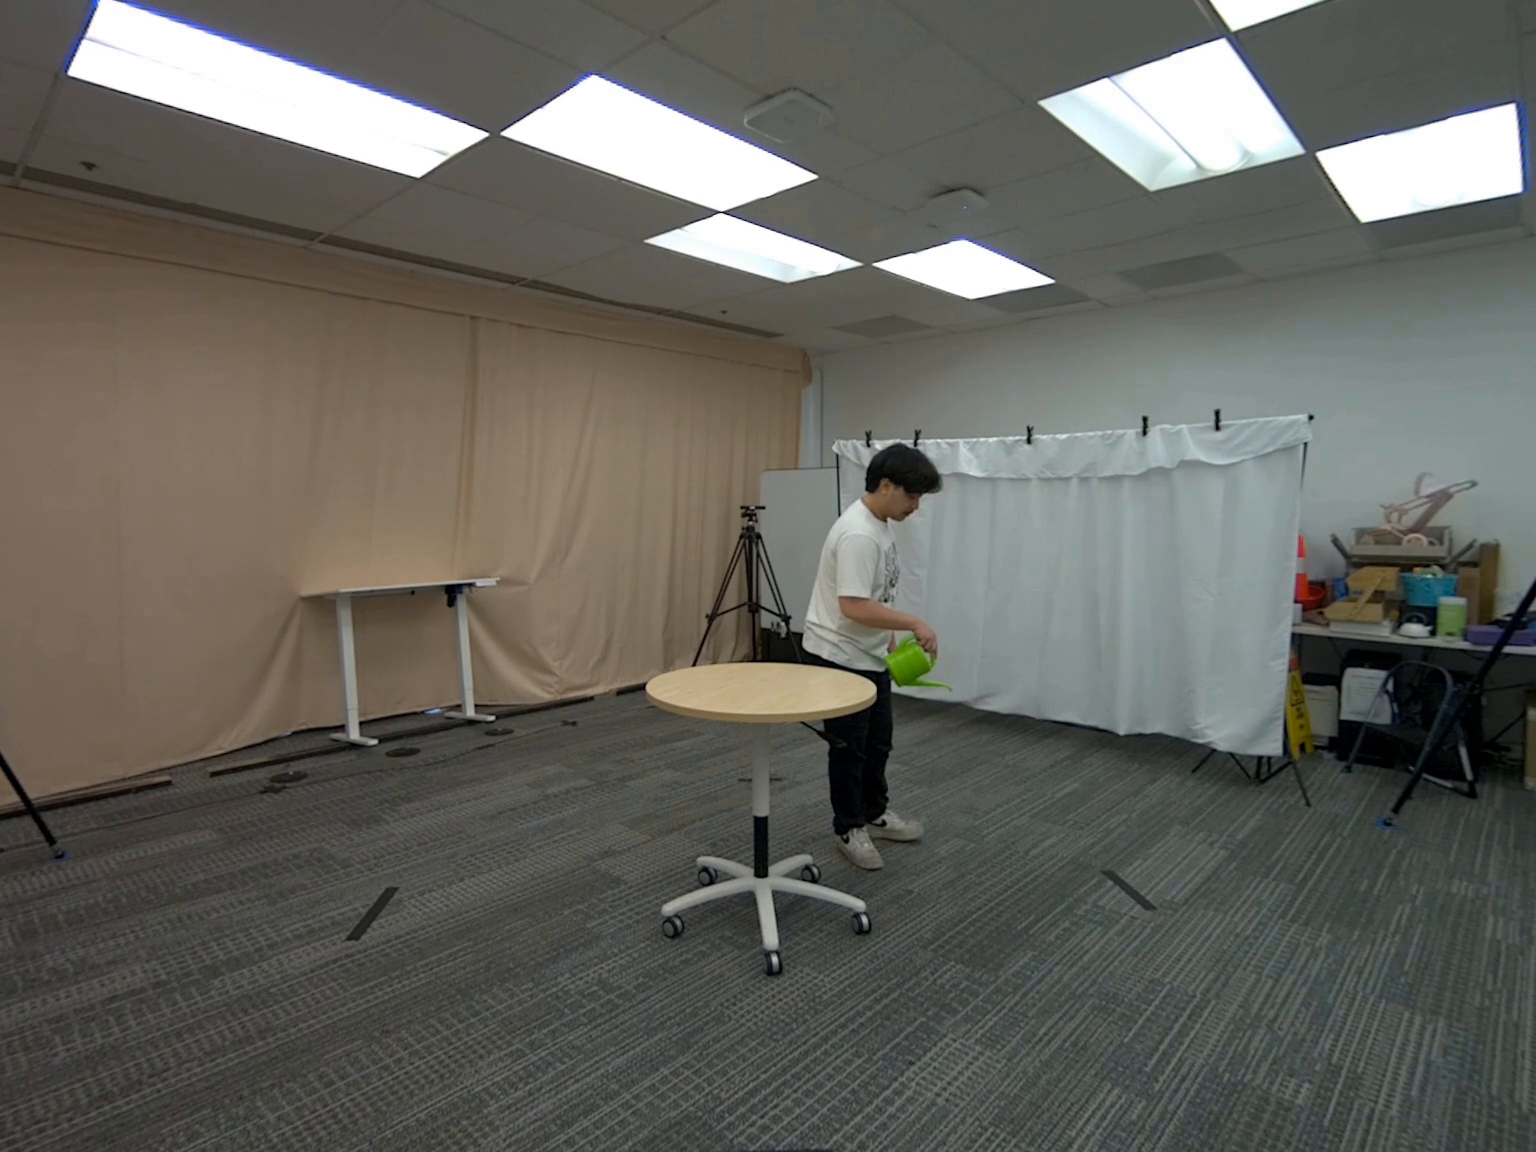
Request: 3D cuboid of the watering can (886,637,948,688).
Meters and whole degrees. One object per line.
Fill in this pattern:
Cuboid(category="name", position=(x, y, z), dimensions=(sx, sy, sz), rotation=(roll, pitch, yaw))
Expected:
Cuboid(category="watering can", position=(0.548, 0.354, 3.116), dimensions=(0.177, 0.277, 0.098), rotation=(-31, 2, 4))
